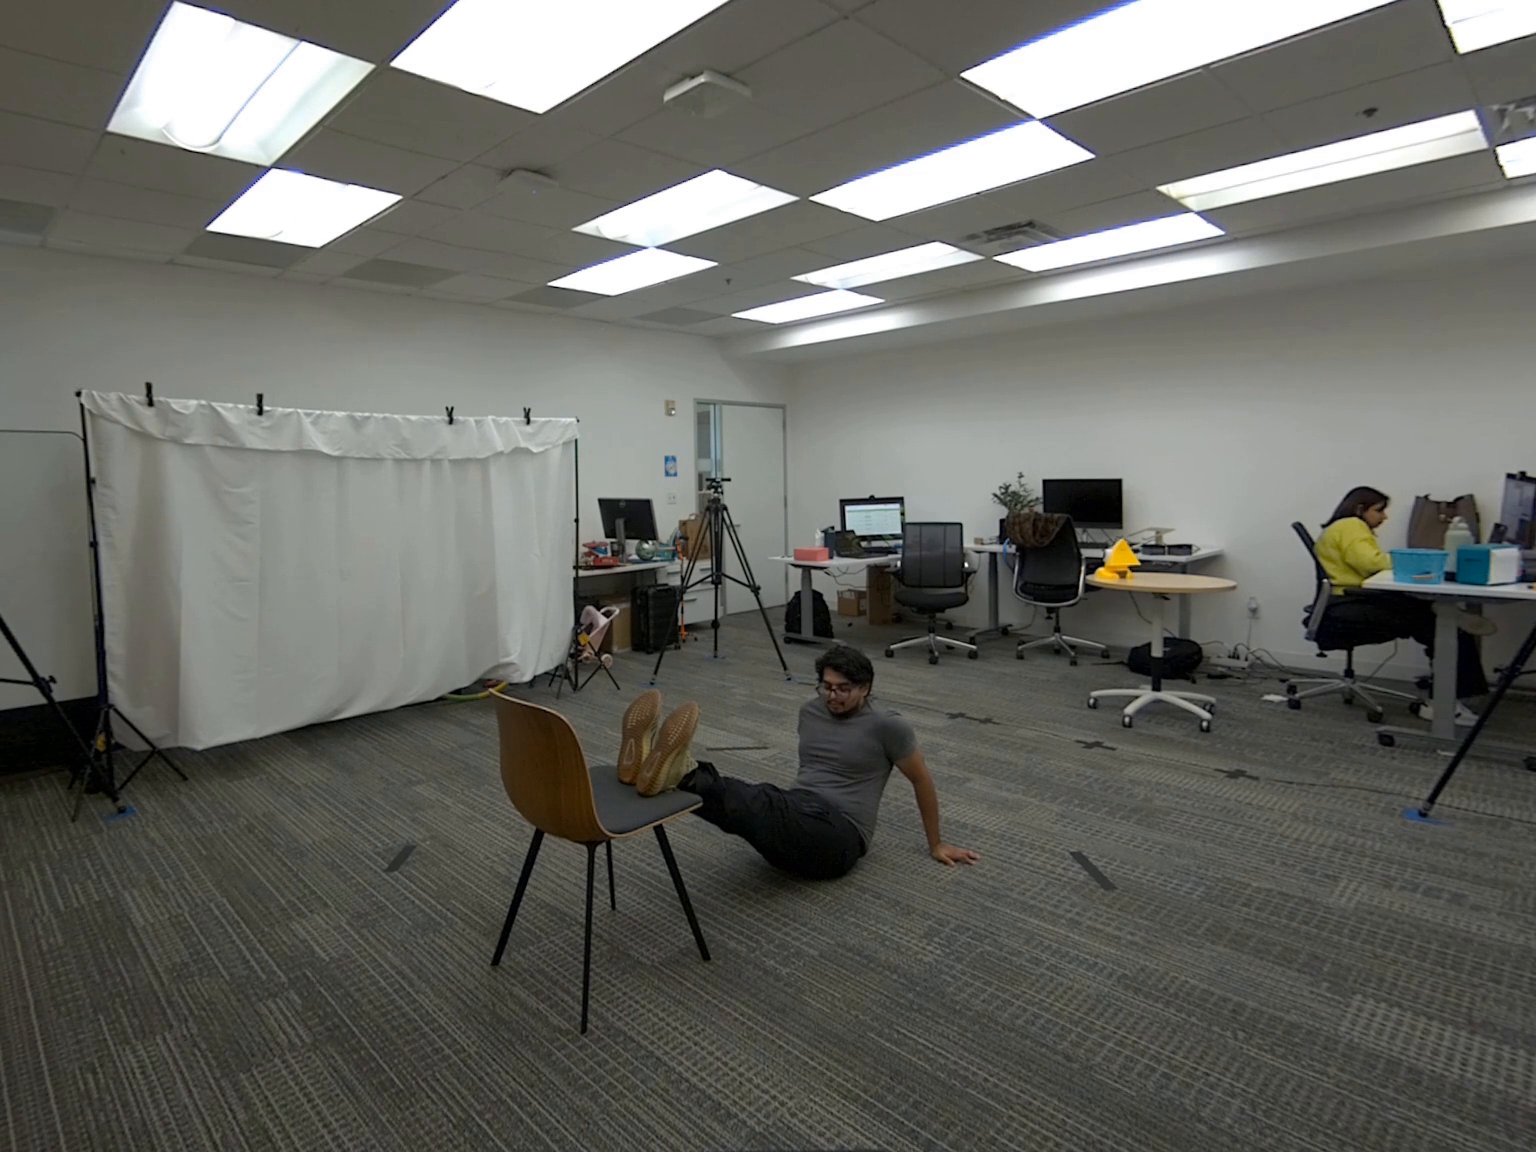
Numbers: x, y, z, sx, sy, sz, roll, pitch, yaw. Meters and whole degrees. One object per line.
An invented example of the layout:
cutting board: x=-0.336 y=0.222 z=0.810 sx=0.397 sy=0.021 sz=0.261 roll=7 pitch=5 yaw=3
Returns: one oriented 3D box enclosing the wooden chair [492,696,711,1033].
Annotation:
wooden chair: x=-0.482 y=0.704 z=2.452 sx=0.493 sy=0.871 sz=0.511 roll=4 pitch=10 yaw=43
